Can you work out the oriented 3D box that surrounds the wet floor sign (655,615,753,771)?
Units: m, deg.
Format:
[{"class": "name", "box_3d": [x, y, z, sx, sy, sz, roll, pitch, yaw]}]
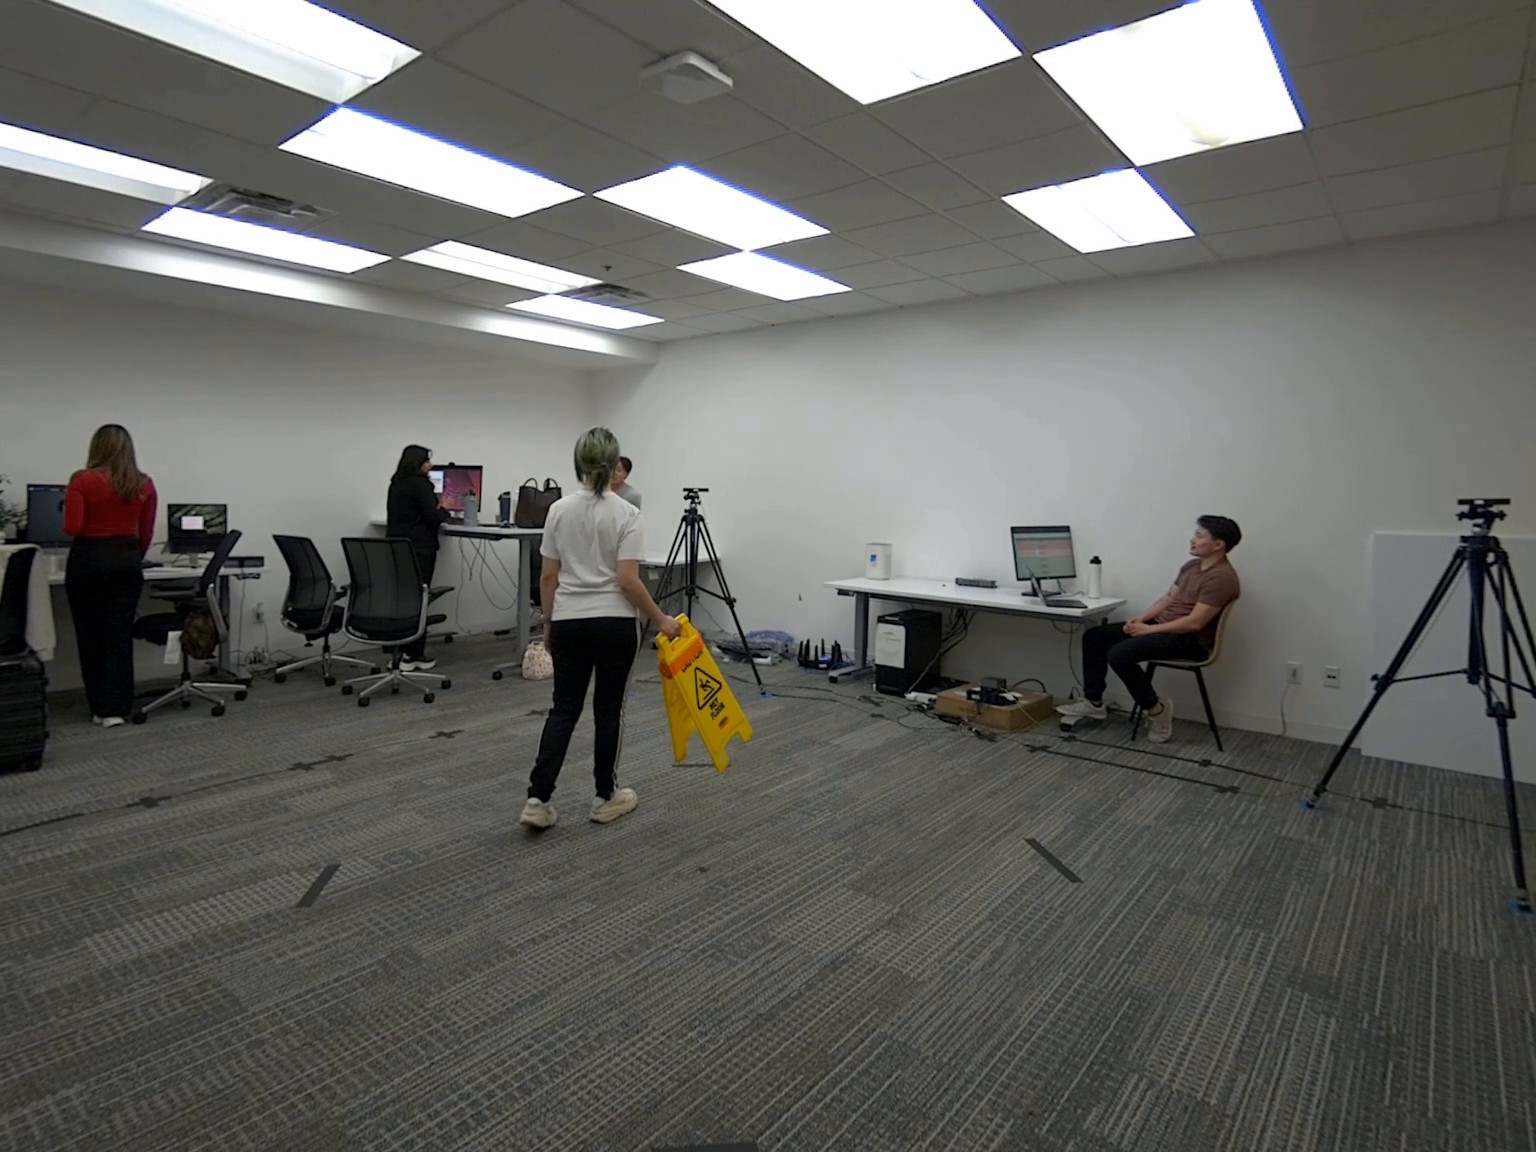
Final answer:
[{"class": "wet floor sign", "box_3d": [-0.339, 0.488, 3.676, 0.299, 0.630, 0.280, 0, 27, 37]}]
